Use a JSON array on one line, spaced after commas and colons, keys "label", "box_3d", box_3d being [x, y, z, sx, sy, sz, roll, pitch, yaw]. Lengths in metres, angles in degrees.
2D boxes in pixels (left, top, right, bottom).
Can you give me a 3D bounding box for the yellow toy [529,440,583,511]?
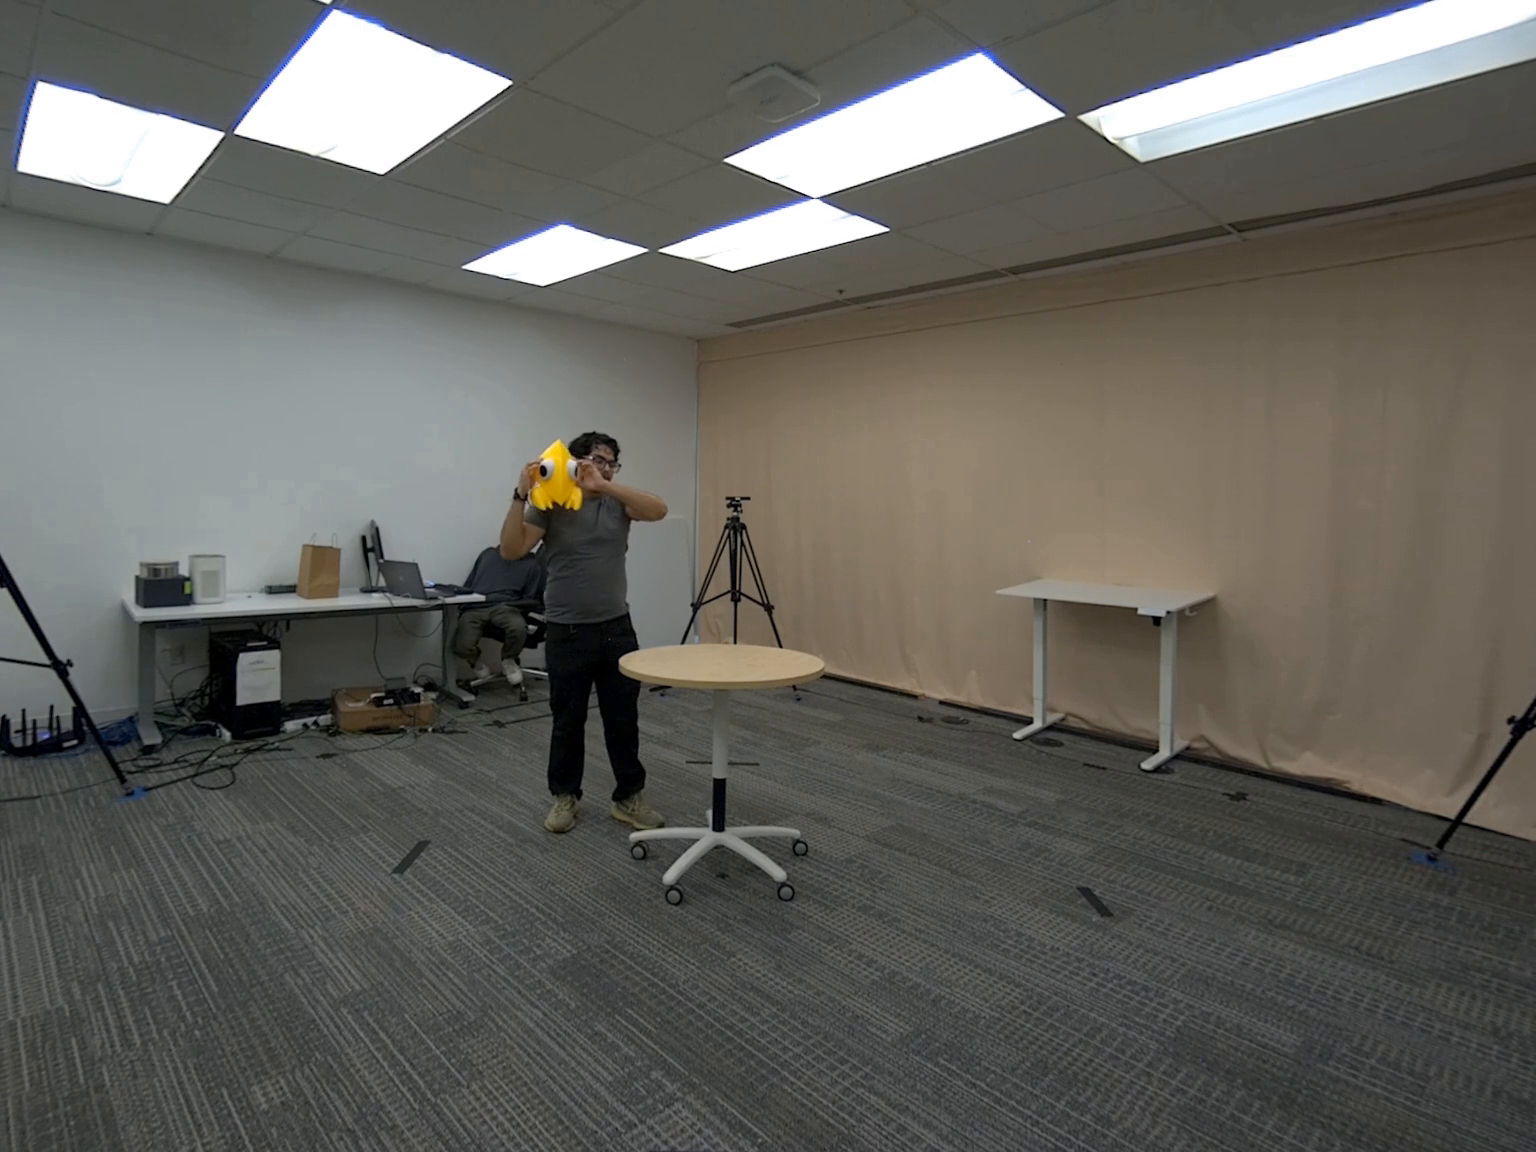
[{"label": "yellow toy", "box_3d": [-0.825, -0.401, 3.288, 0.201, 0.227, 0.199, -2, 33, -26]}]
